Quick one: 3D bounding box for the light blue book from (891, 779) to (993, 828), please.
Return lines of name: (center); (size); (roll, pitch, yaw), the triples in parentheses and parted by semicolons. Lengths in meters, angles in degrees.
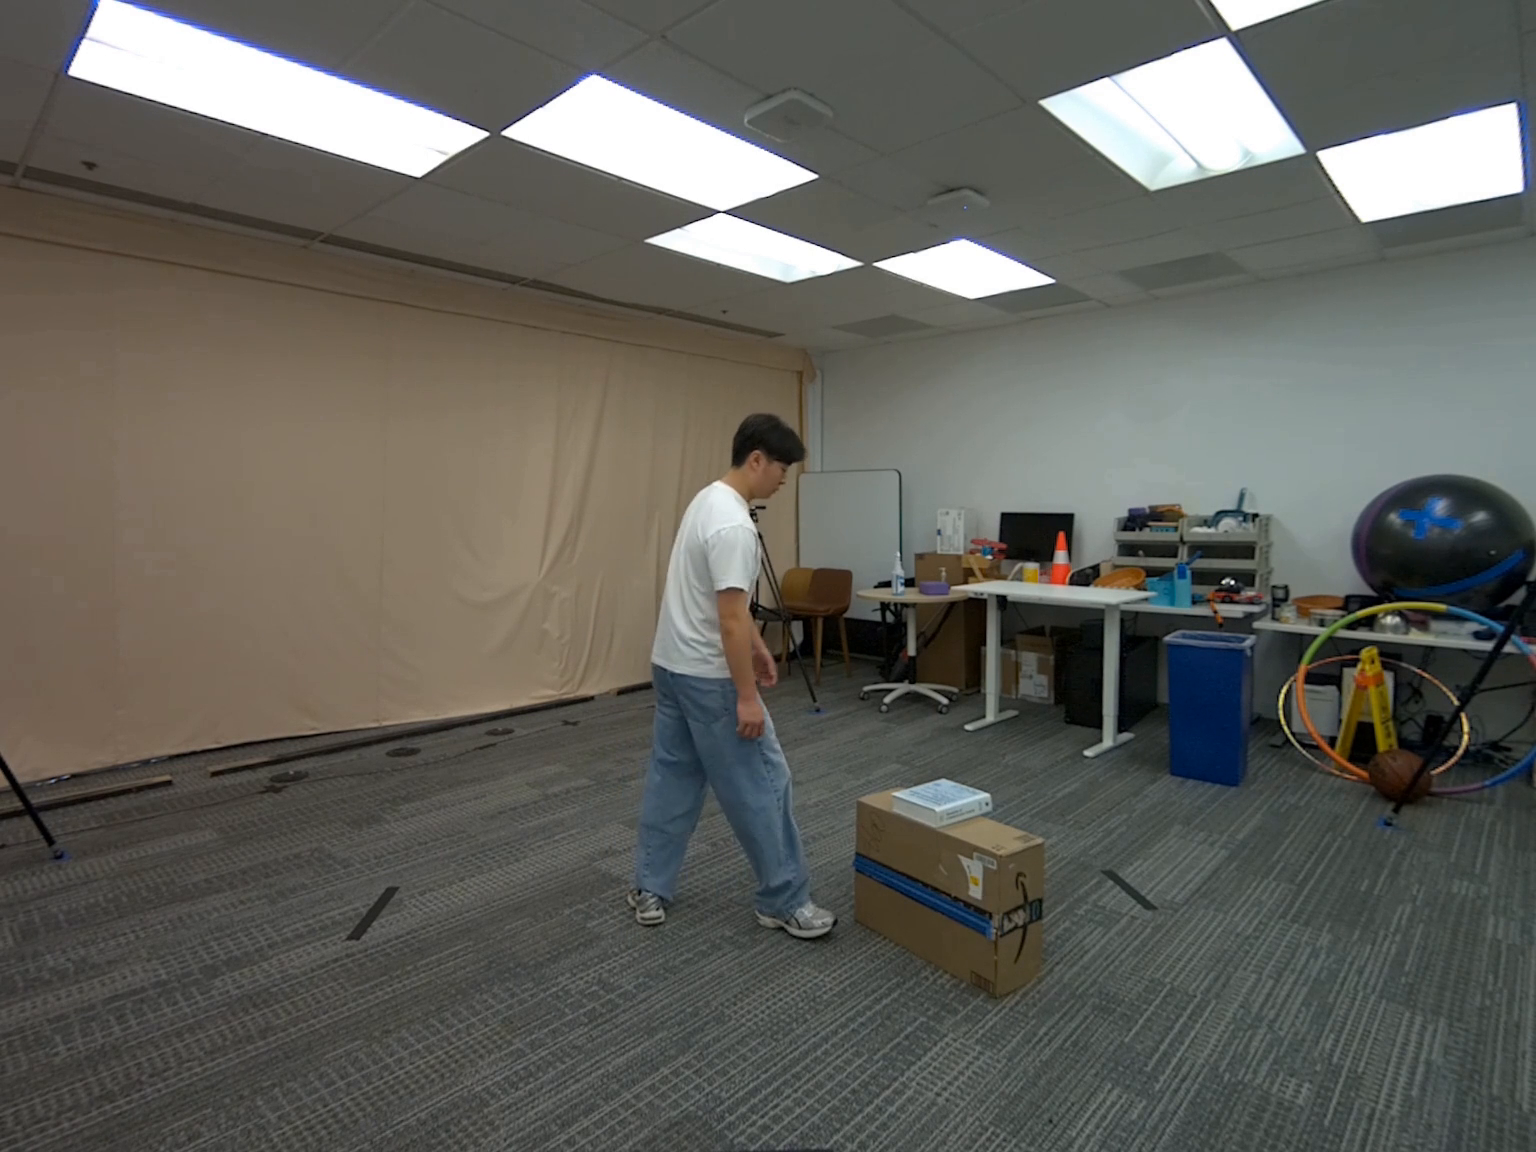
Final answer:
light blue book: (0.560, 0.725, 2.671); (0.253, 0.059, 0.197); (-2, 5, -37)
